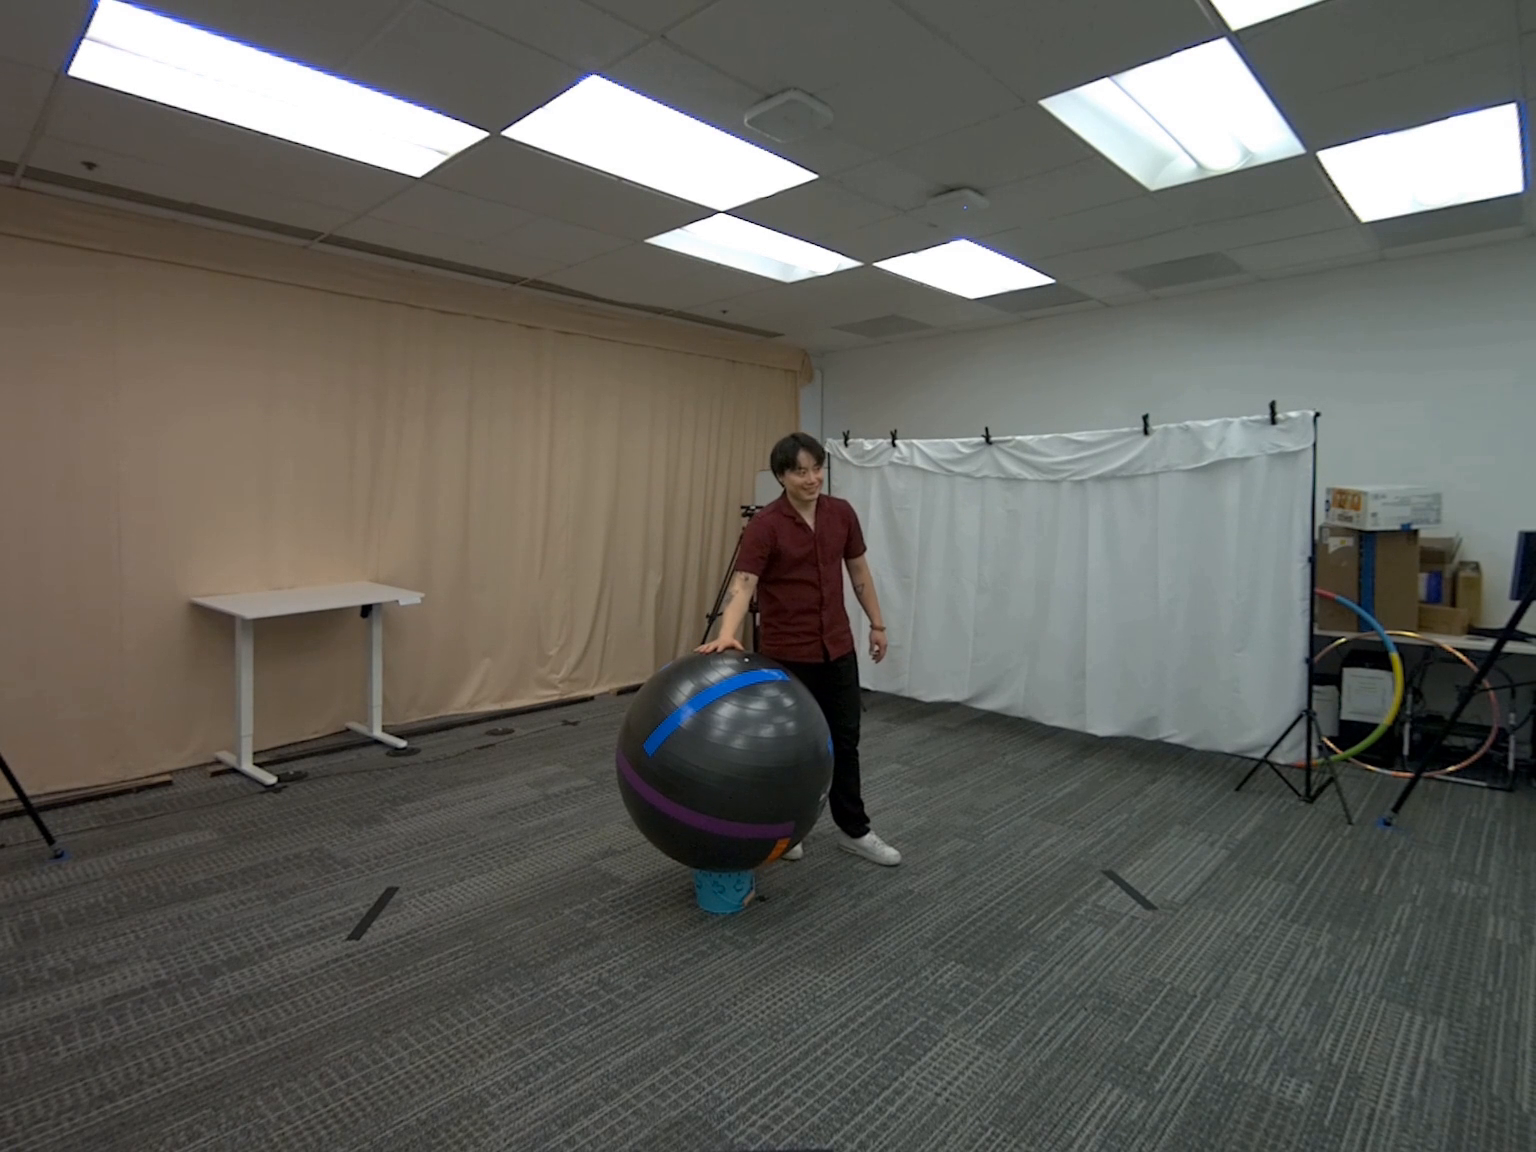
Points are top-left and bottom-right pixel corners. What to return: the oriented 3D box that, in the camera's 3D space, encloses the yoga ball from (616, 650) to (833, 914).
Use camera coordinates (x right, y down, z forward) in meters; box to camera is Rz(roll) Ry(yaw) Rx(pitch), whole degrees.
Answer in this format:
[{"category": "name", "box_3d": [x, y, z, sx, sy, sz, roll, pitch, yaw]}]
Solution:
[{"category": "yoga ball", "box_3d": [-0.148, 0.641, 2.940, 0.757, 0.756, 0.760, 0, 4, -2]}]
